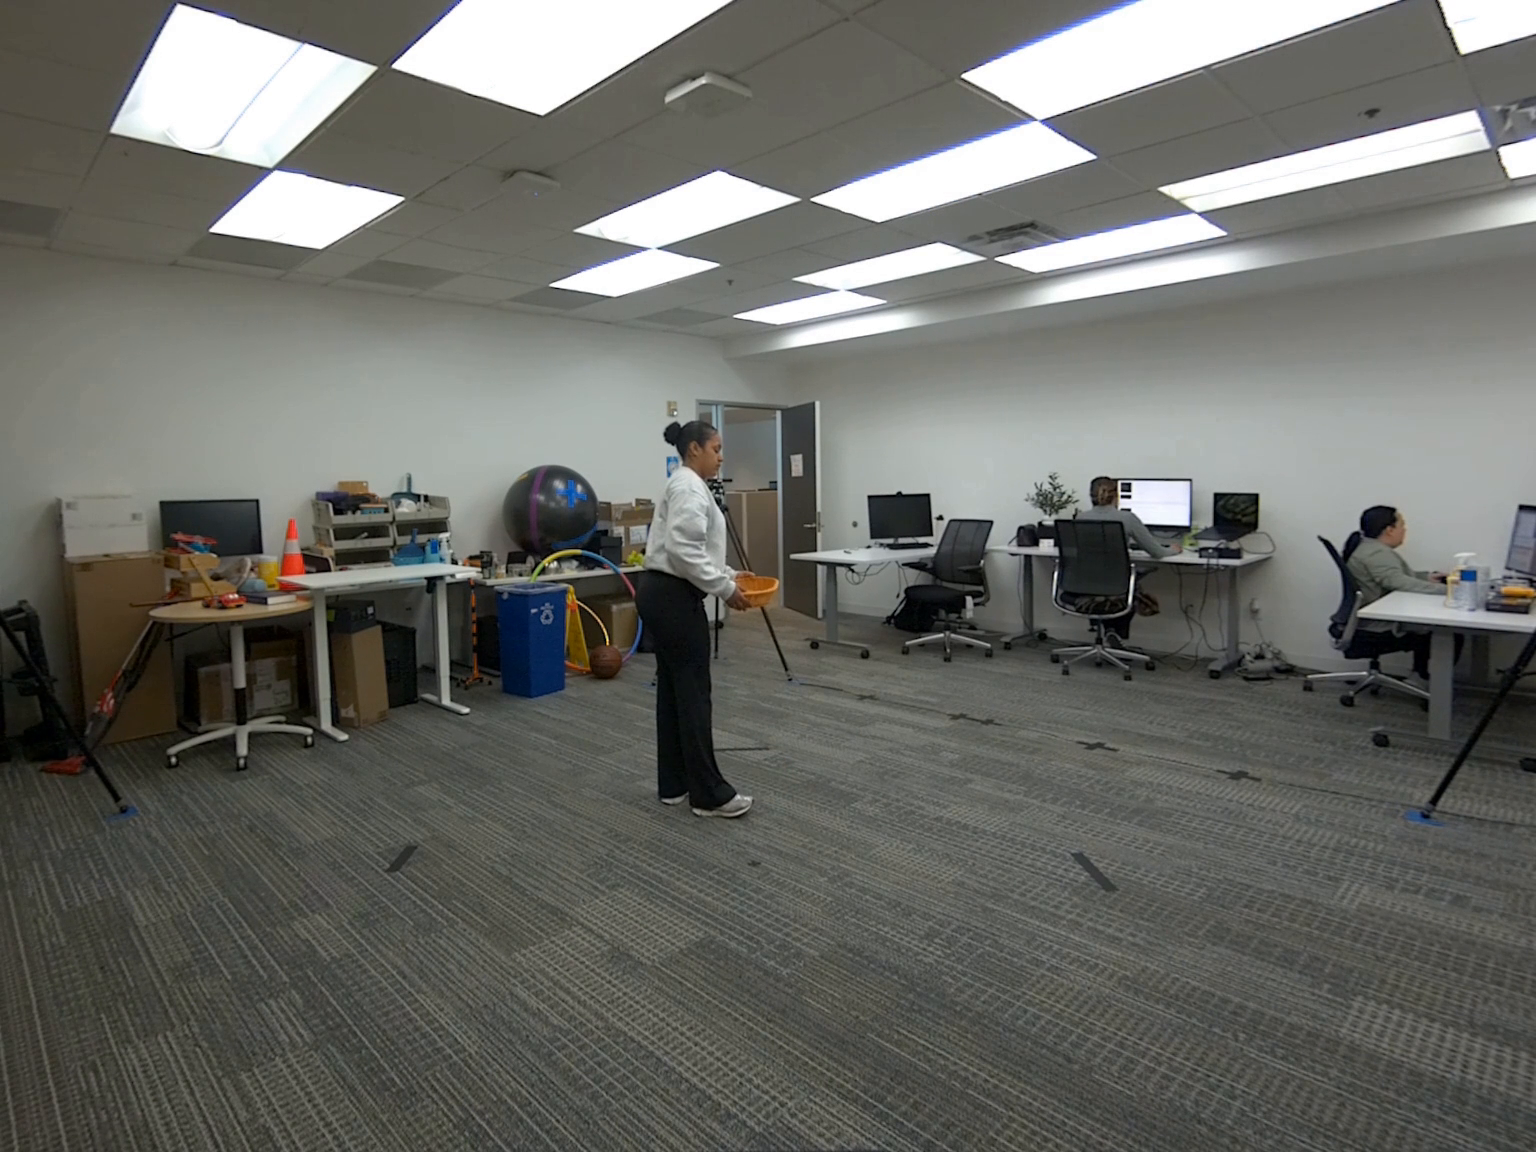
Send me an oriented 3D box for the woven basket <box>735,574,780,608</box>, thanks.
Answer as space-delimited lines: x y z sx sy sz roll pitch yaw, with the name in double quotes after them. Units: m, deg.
-0.096 0.073 3.665 0.256 0.073 0.349 -3 11 13 "woven basket"
